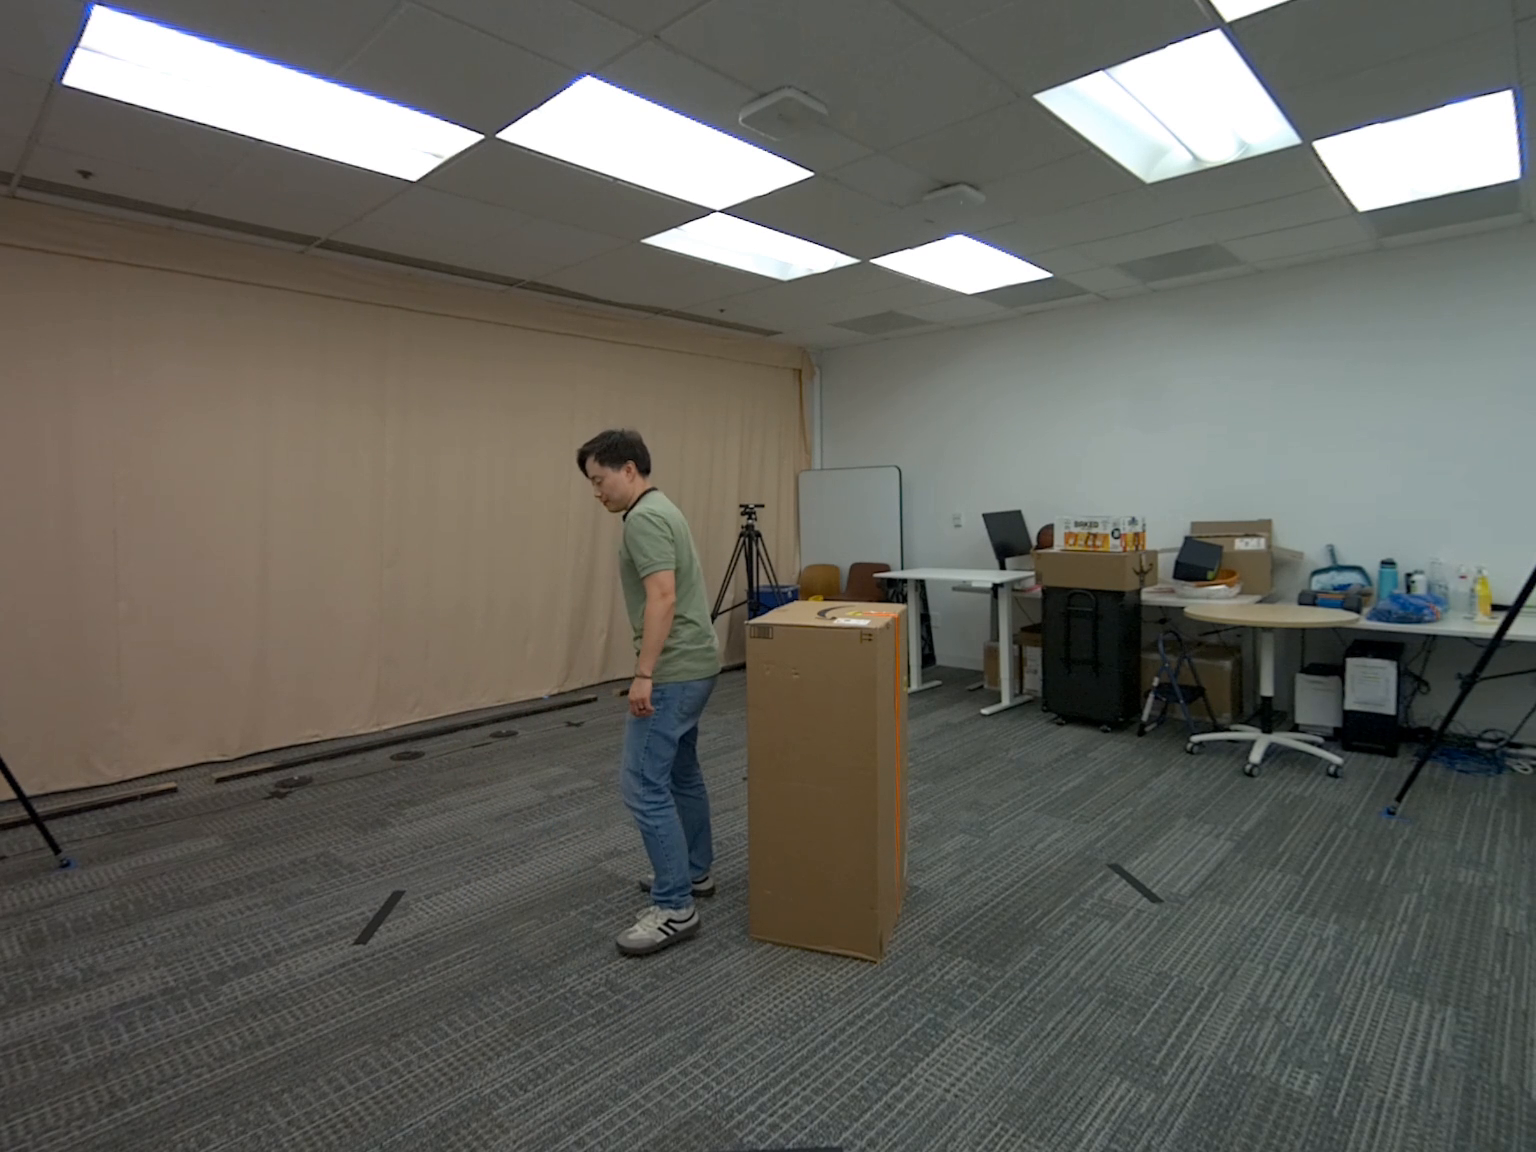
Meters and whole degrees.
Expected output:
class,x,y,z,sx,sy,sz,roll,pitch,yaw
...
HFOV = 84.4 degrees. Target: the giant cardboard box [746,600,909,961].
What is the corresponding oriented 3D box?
class,x,y,z,sx,sy,sz,roll,pitch,yaw
giant cardboard box,0.226,0.634,2.859,0.436,1.023,0.566,1,4,21
